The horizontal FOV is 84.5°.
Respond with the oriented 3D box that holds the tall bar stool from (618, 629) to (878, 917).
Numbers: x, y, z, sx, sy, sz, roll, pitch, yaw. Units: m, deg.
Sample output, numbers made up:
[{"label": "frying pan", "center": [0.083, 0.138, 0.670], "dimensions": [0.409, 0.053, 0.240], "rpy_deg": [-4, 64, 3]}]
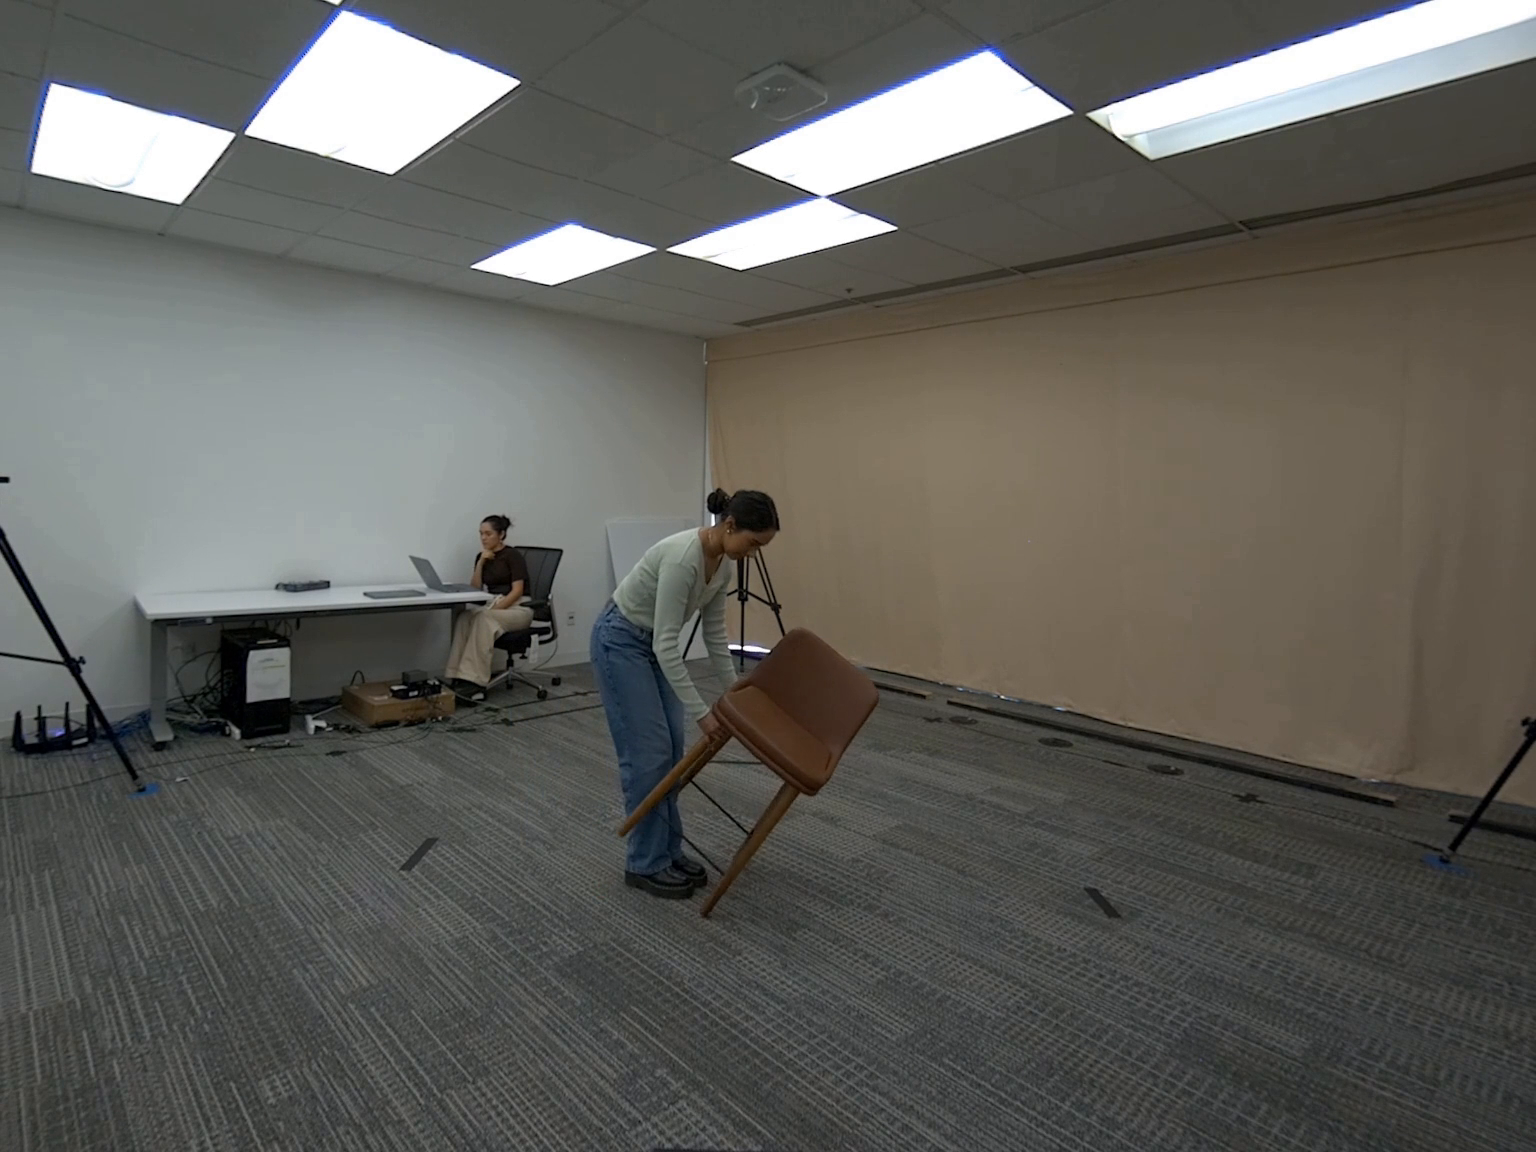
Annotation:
[{"label": "tall bar stool", "center": [-0.054, 0.660, 2.949], "dimensions": [0.463, 0.889, 0.461], "rpy_deg": [40, 10, 12]}]
